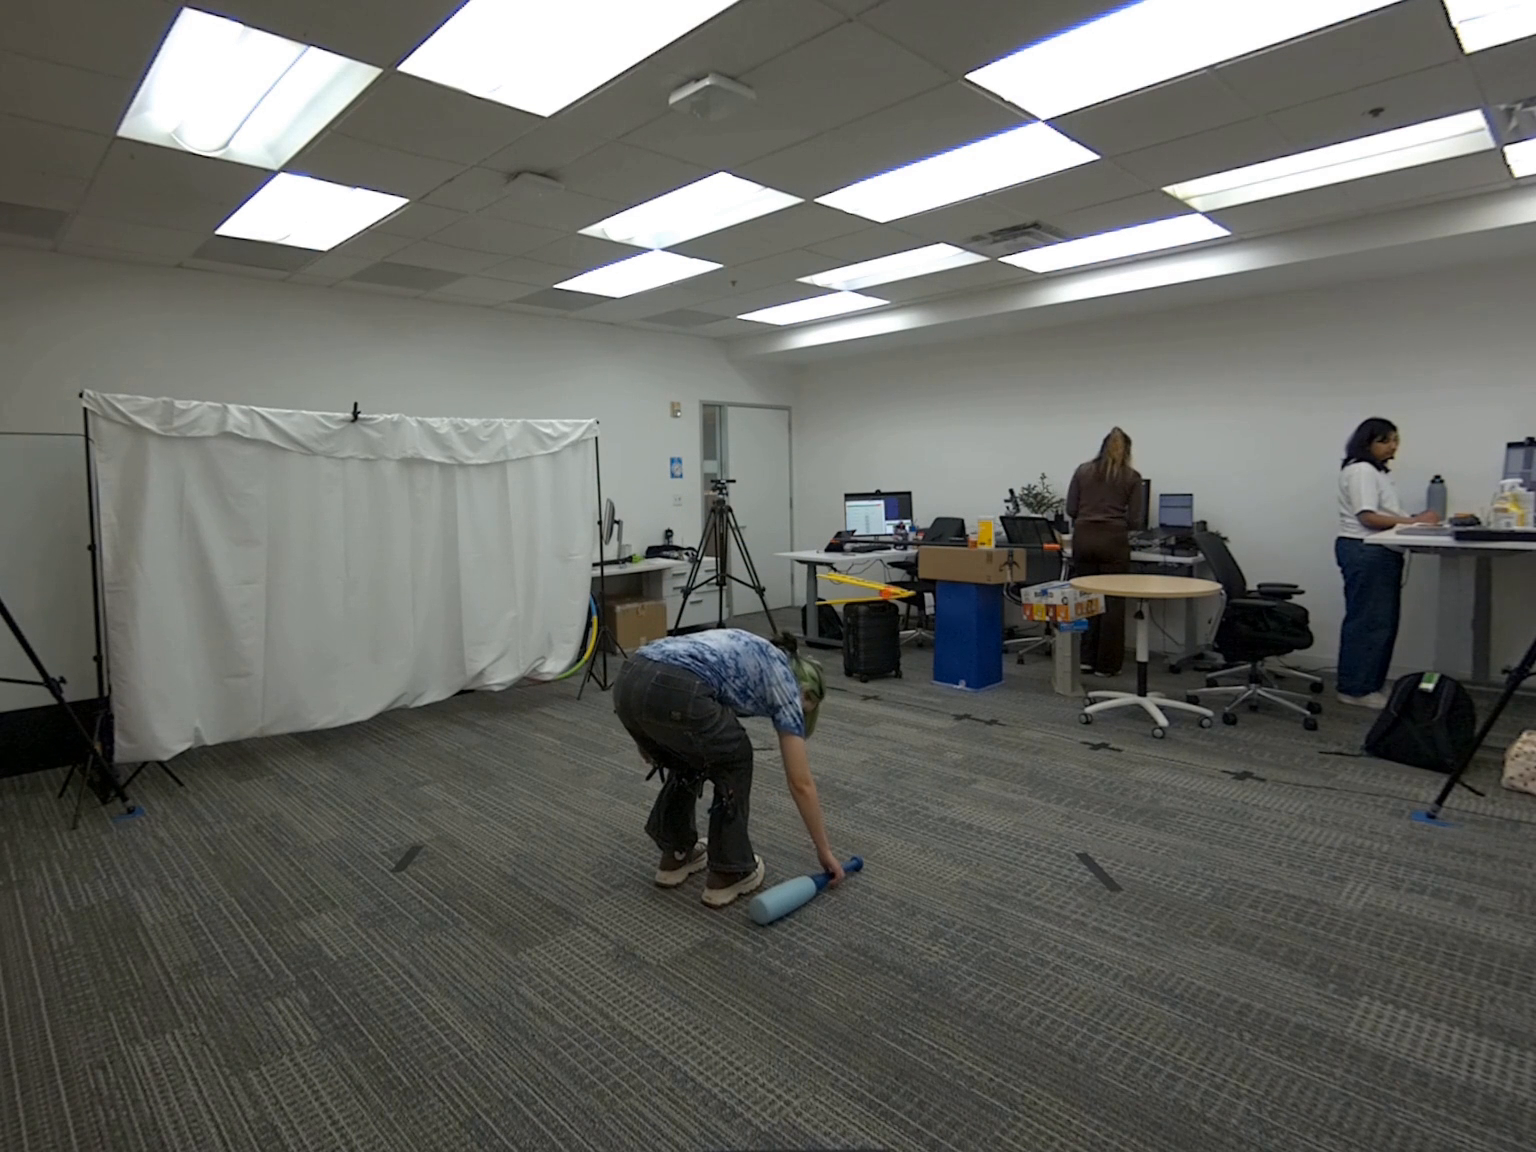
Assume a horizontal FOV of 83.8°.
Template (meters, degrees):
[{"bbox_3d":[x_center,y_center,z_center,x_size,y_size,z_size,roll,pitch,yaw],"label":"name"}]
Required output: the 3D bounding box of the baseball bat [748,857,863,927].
[{"bbox_3d":[0.144,1.033,2.851,0.092,0.089,0.528,3,4,43],"label":"baseball bat"}]
